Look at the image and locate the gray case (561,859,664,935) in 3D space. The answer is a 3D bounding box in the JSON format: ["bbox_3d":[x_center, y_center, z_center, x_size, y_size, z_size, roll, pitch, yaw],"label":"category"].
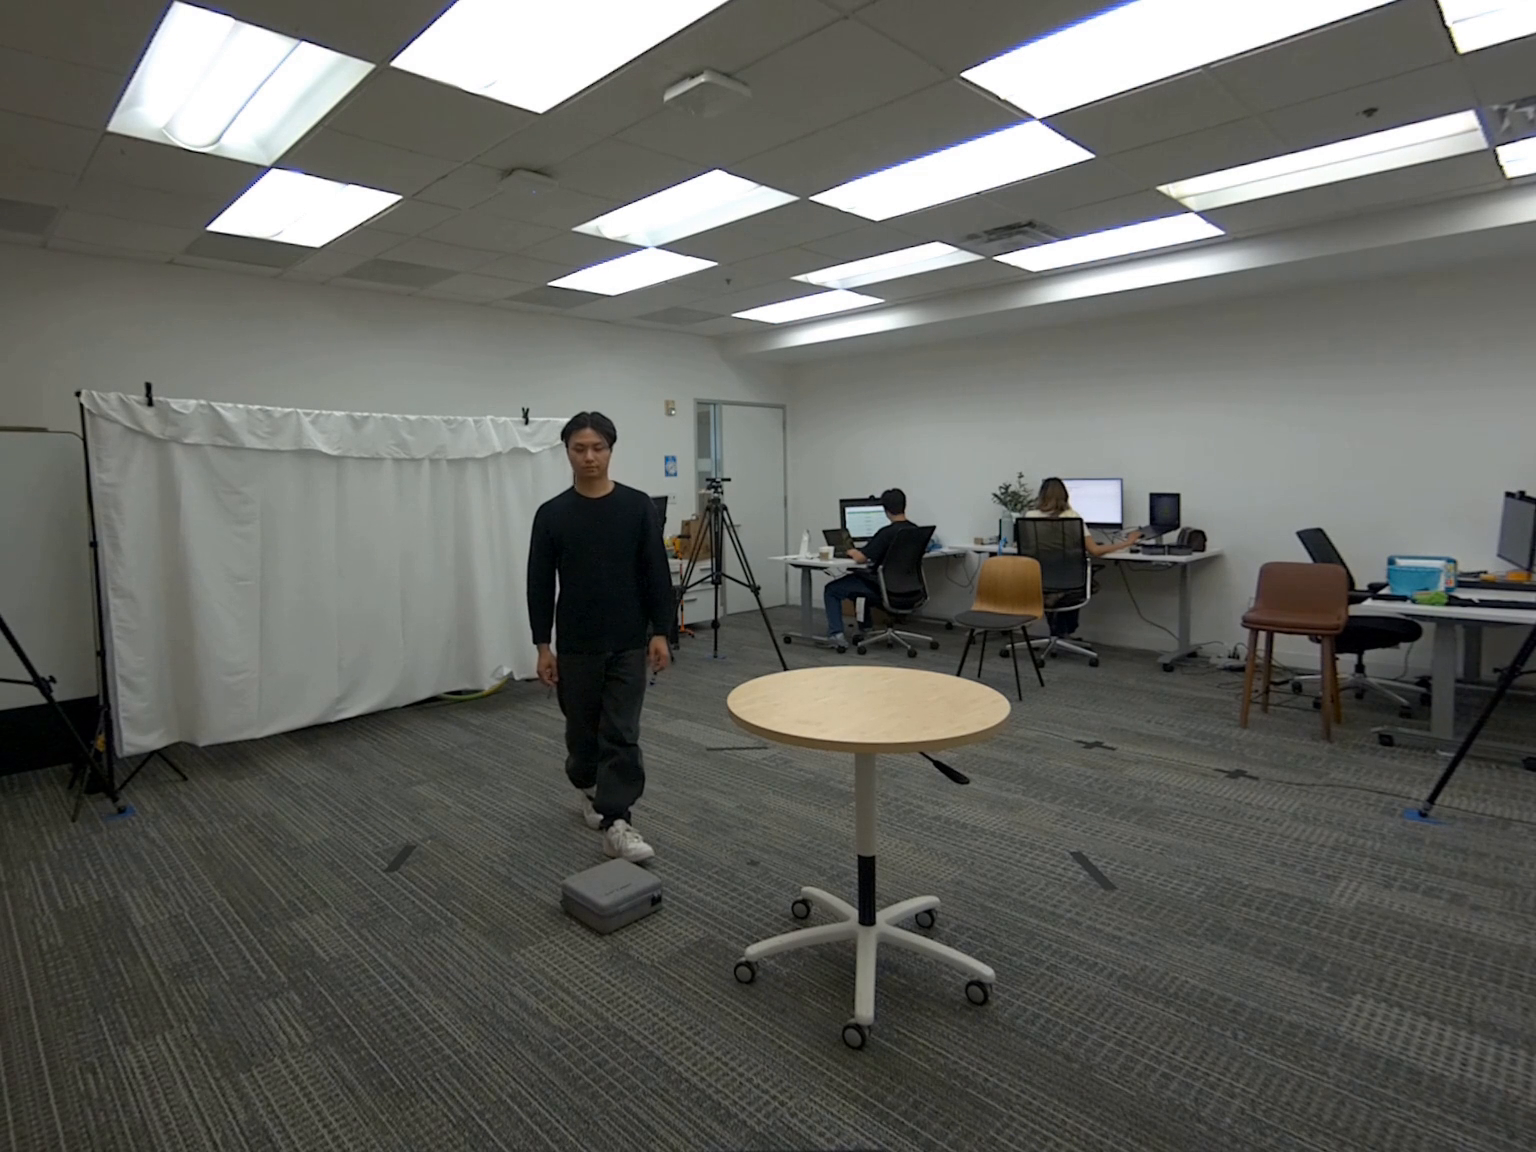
[{"bbox_3d":[-0.511,1.033,2.781,0.250,0.104,0.269,-9,10,-44],"label":"gray case"}]
